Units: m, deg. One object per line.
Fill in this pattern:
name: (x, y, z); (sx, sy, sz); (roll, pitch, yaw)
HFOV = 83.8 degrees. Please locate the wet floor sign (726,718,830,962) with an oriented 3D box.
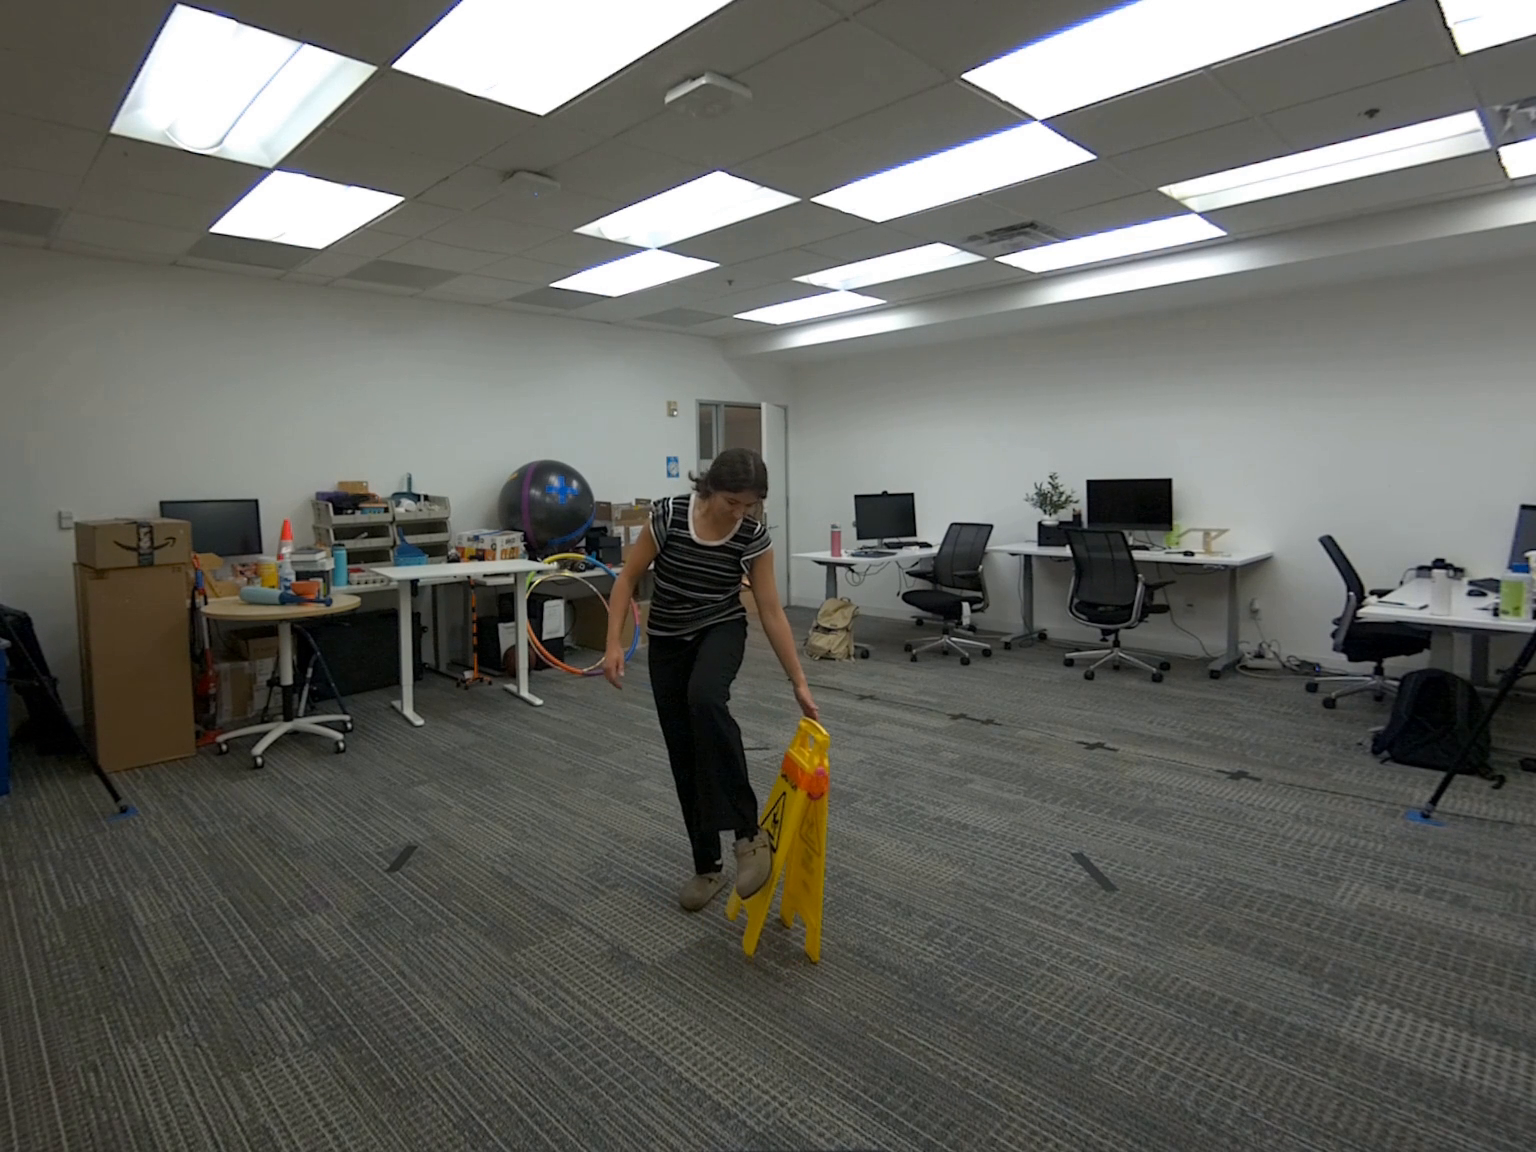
wet floor sign: (0.076, 0.766, 2.566); (0.284, 0.646, 0.287); (12, -1, -17)
